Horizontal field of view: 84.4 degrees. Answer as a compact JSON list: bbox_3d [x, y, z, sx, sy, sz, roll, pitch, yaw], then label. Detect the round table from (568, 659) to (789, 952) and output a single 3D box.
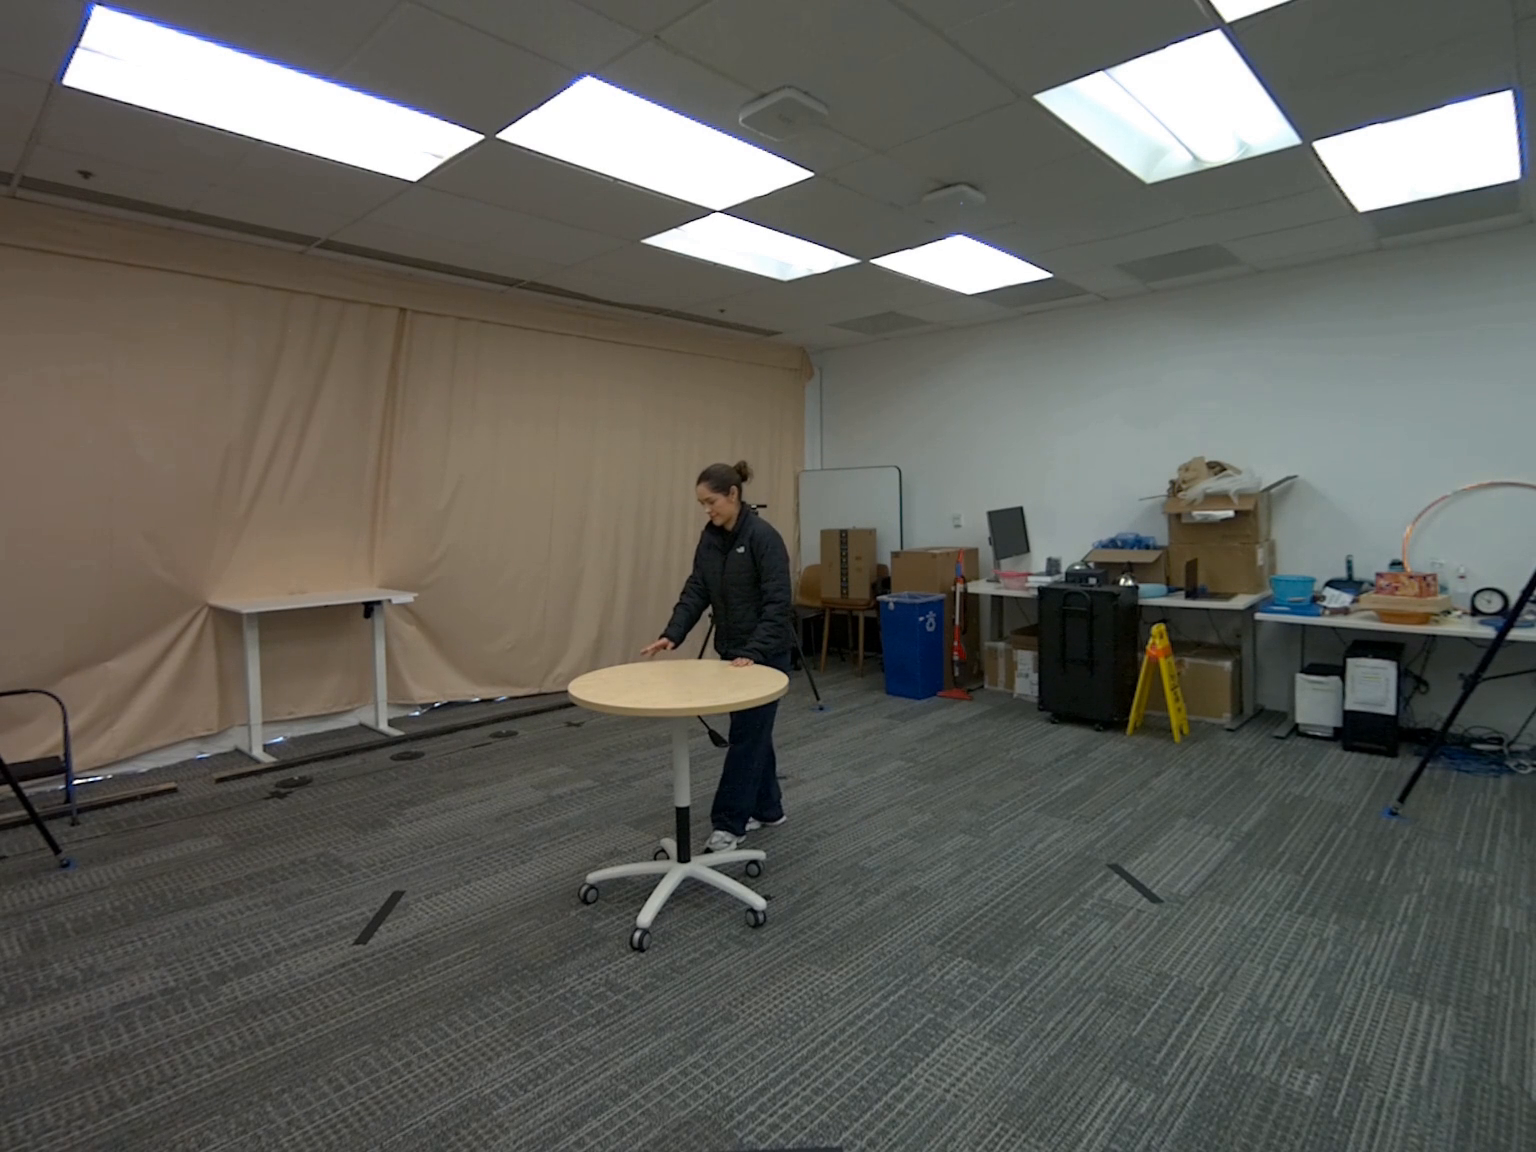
[{"bbox_3d":[-0.293,0.753,2.972,0.784,0.784,0.788,-1,5,-2],"label":"round table"}]
